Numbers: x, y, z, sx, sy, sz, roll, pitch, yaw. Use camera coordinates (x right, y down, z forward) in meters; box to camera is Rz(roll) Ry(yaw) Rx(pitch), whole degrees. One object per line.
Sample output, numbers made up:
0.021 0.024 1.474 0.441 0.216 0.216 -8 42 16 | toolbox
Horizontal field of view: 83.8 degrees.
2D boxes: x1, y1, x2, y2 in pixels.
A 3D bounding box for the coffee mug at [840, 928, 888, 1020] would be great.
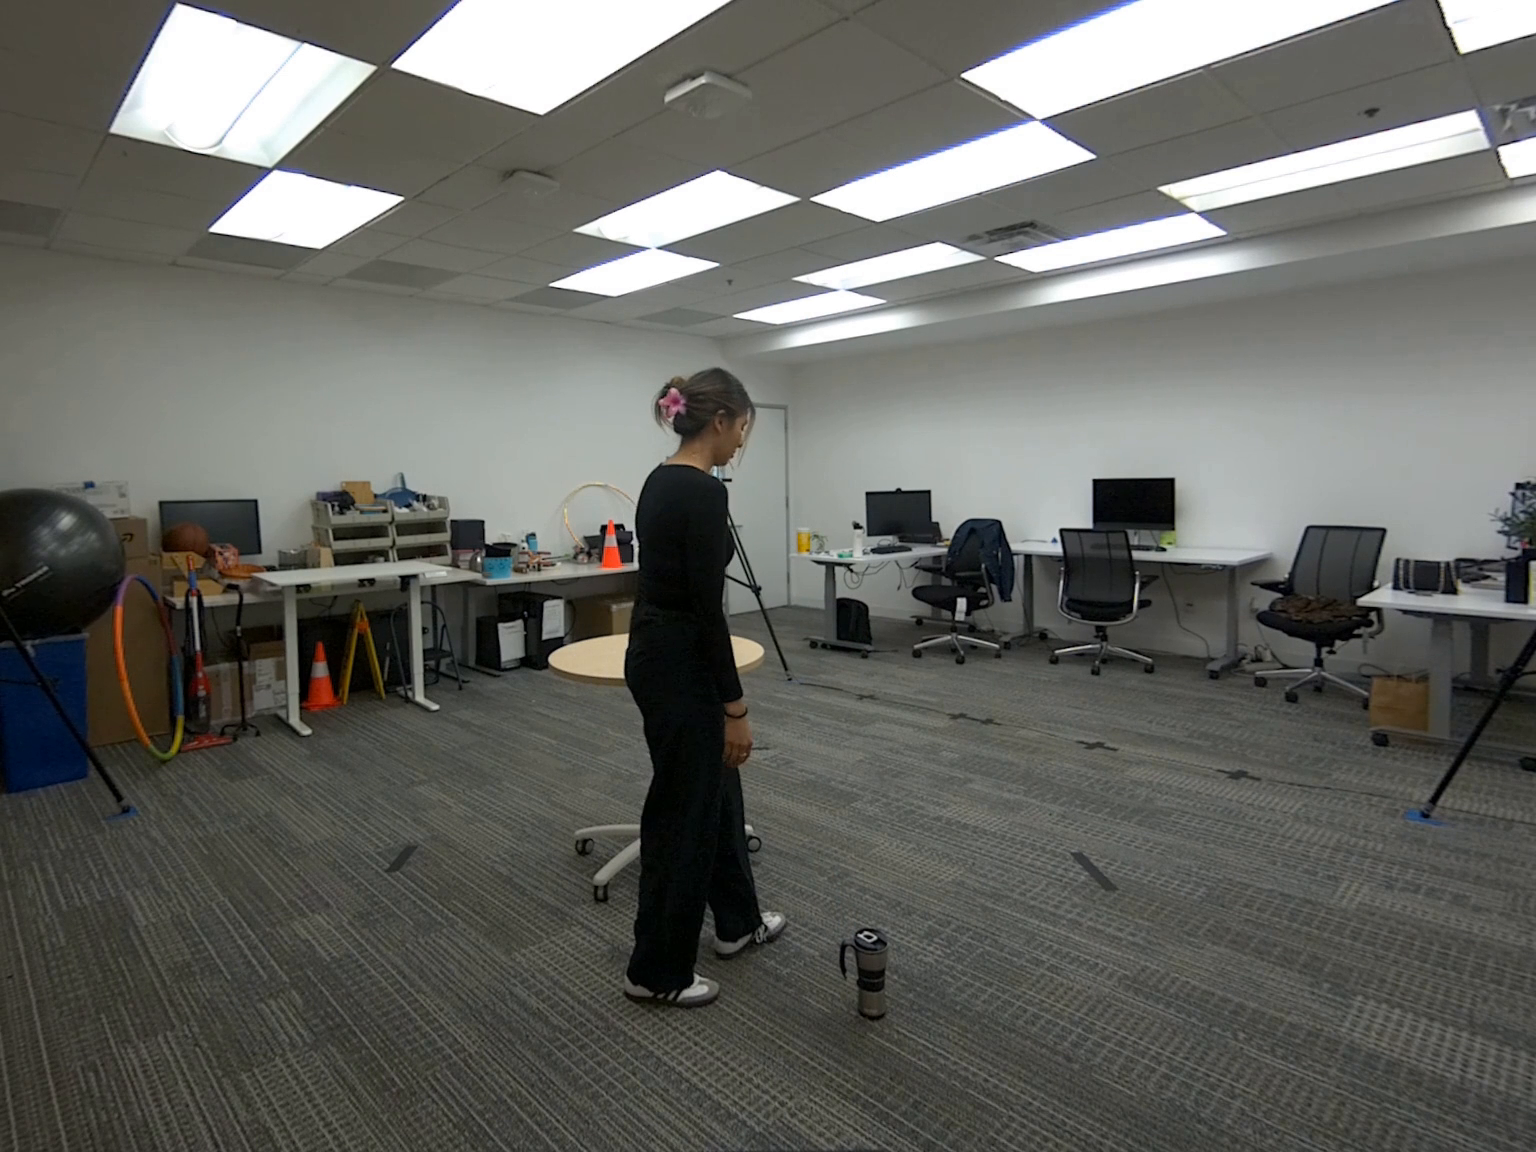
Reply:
0.260 1.035 2.240 0.086 0.201 0.126 -10 14 -41 | coffee mug
